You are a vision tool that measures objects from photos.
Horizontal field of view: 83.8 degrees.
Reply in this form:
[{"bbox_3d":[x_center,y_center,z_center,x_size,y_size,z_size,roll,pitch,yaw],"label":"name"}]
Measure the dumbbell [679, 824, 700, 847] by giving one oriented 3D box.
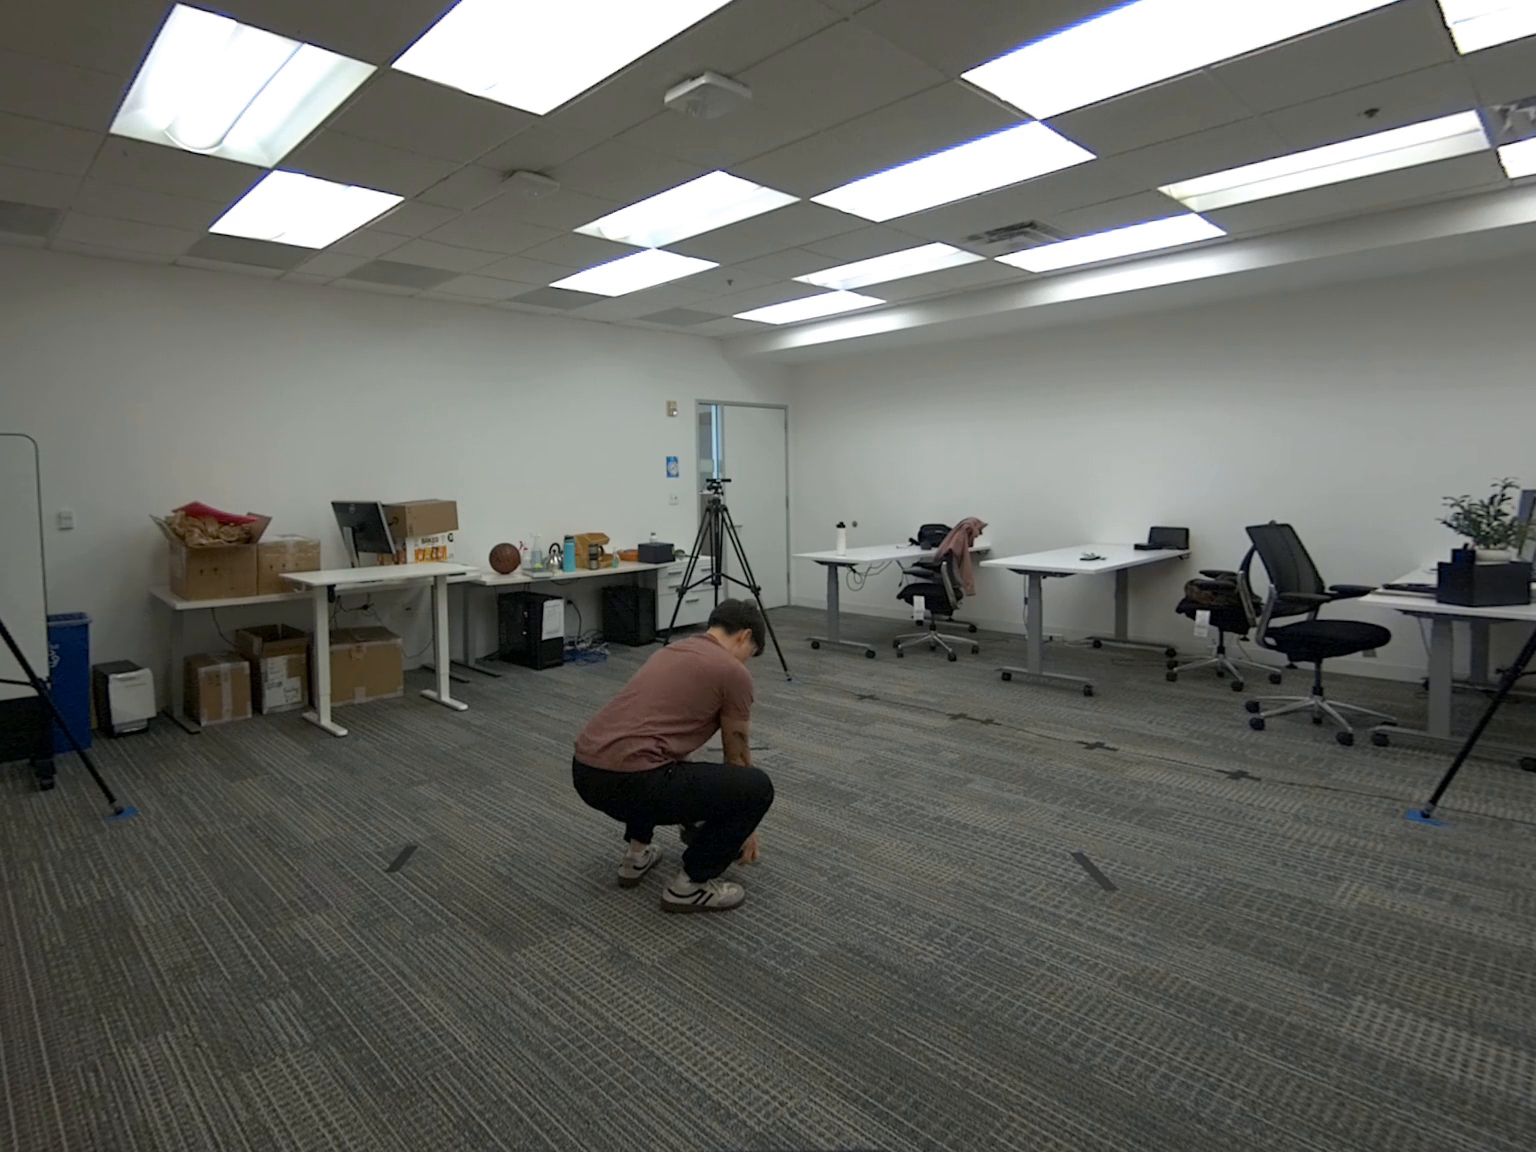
[{"bbox_3d":[-0.185,0.932,3.056,0.302,0.109,0.118,2,-36,45],"label":"dumbbell"}]
